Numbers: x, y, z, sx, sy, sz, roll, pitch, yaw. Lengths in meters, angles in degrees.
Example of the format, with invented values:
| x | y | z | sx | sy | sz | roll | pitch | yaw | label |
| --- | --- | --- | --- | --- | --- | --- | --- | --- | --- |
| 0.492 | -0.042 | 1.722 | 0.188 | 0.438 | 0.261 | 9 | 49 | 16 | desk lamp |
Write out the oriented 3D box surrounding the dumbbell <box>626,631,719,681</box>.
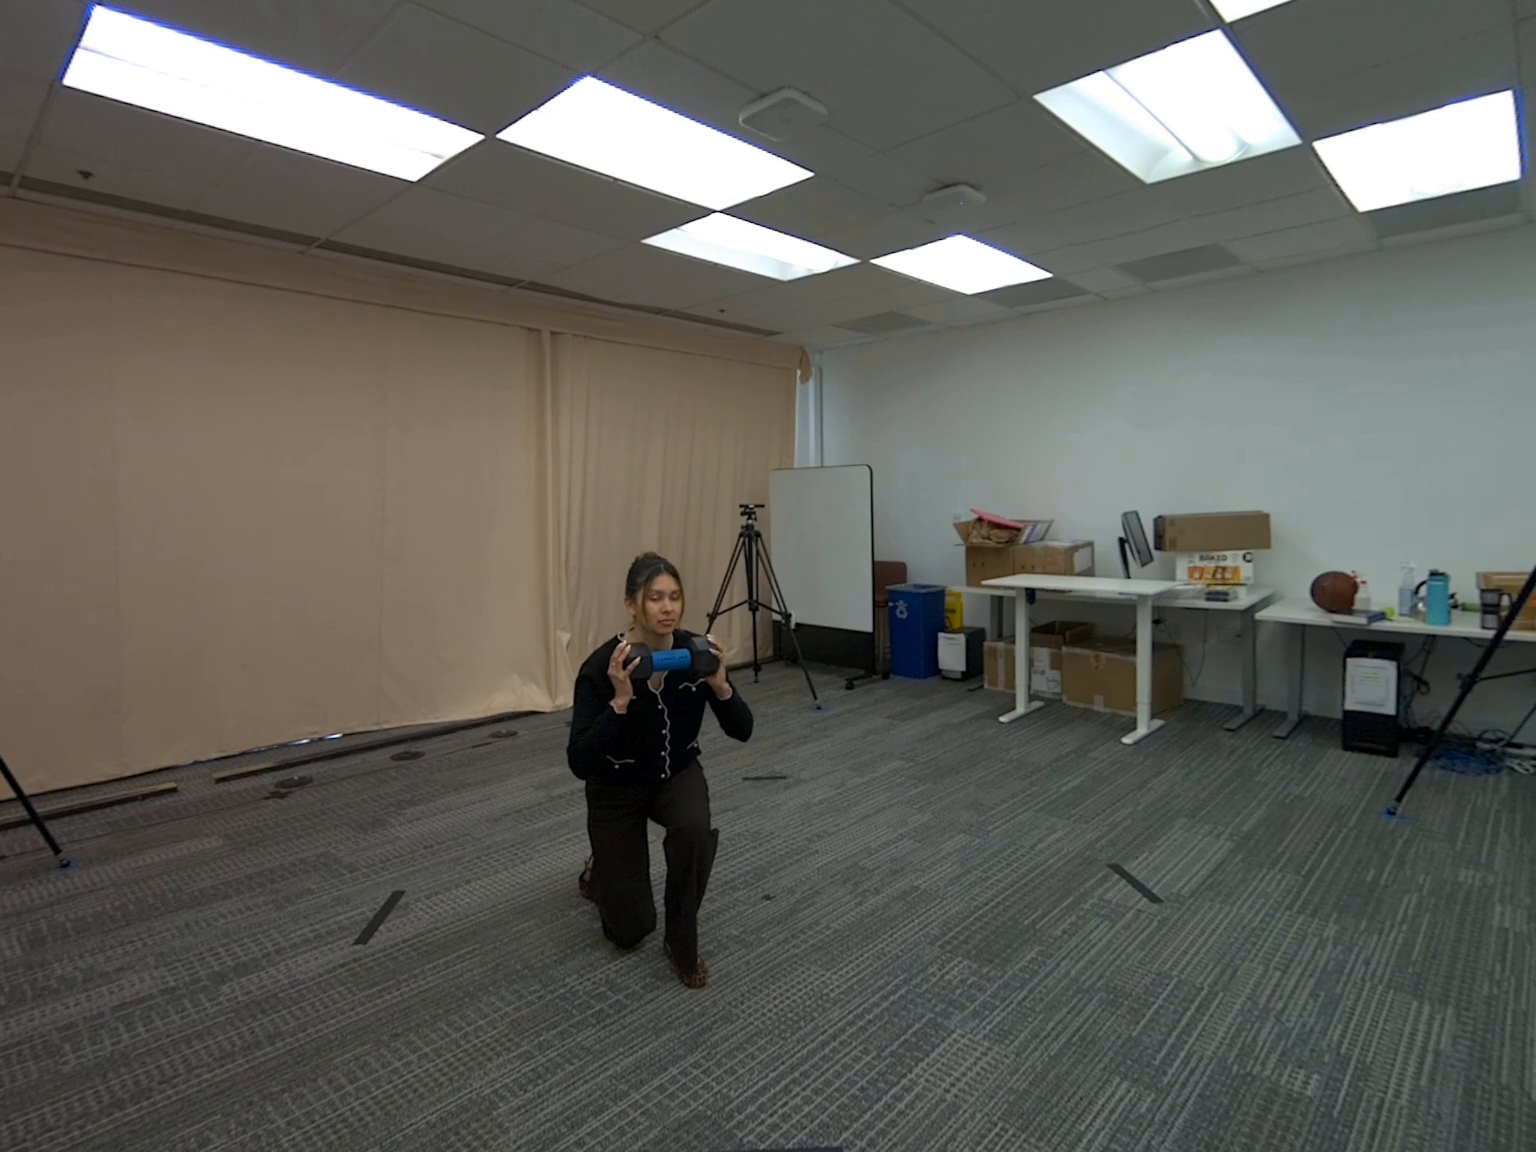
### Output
| x | y | z | sx | sy | sz | roll | pitch | yaw | label |
| --- | --- | --- | --- | --- | --- | --- | --- | --- | --- |
| -0.290 | 0.245 | 2.487 | 0.287 | 0.111 | 0.123 | -4 | -30 | -23 | dumbbell |
